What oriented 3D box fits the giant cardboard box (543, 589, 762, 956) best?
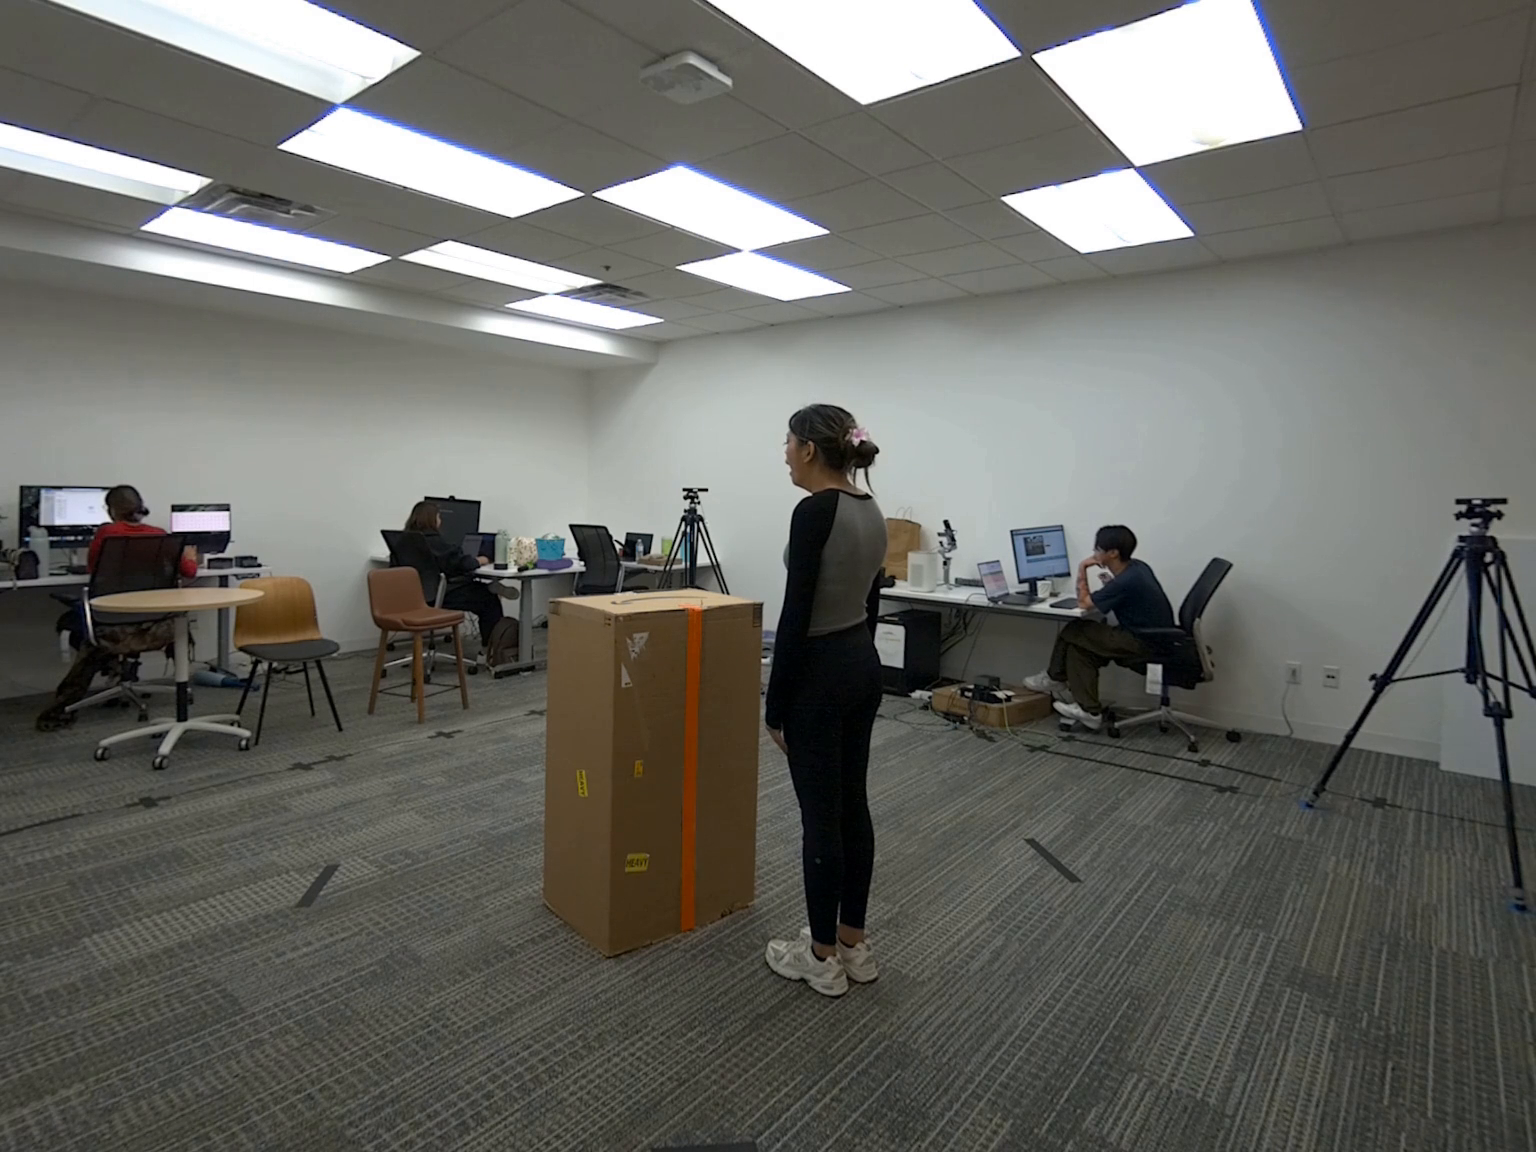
[{"bbox_3d":[-0.389,0.588,2.814,0.566,1.025,0.462,-1,3,-41],"label":"giant cardboard box"}]
